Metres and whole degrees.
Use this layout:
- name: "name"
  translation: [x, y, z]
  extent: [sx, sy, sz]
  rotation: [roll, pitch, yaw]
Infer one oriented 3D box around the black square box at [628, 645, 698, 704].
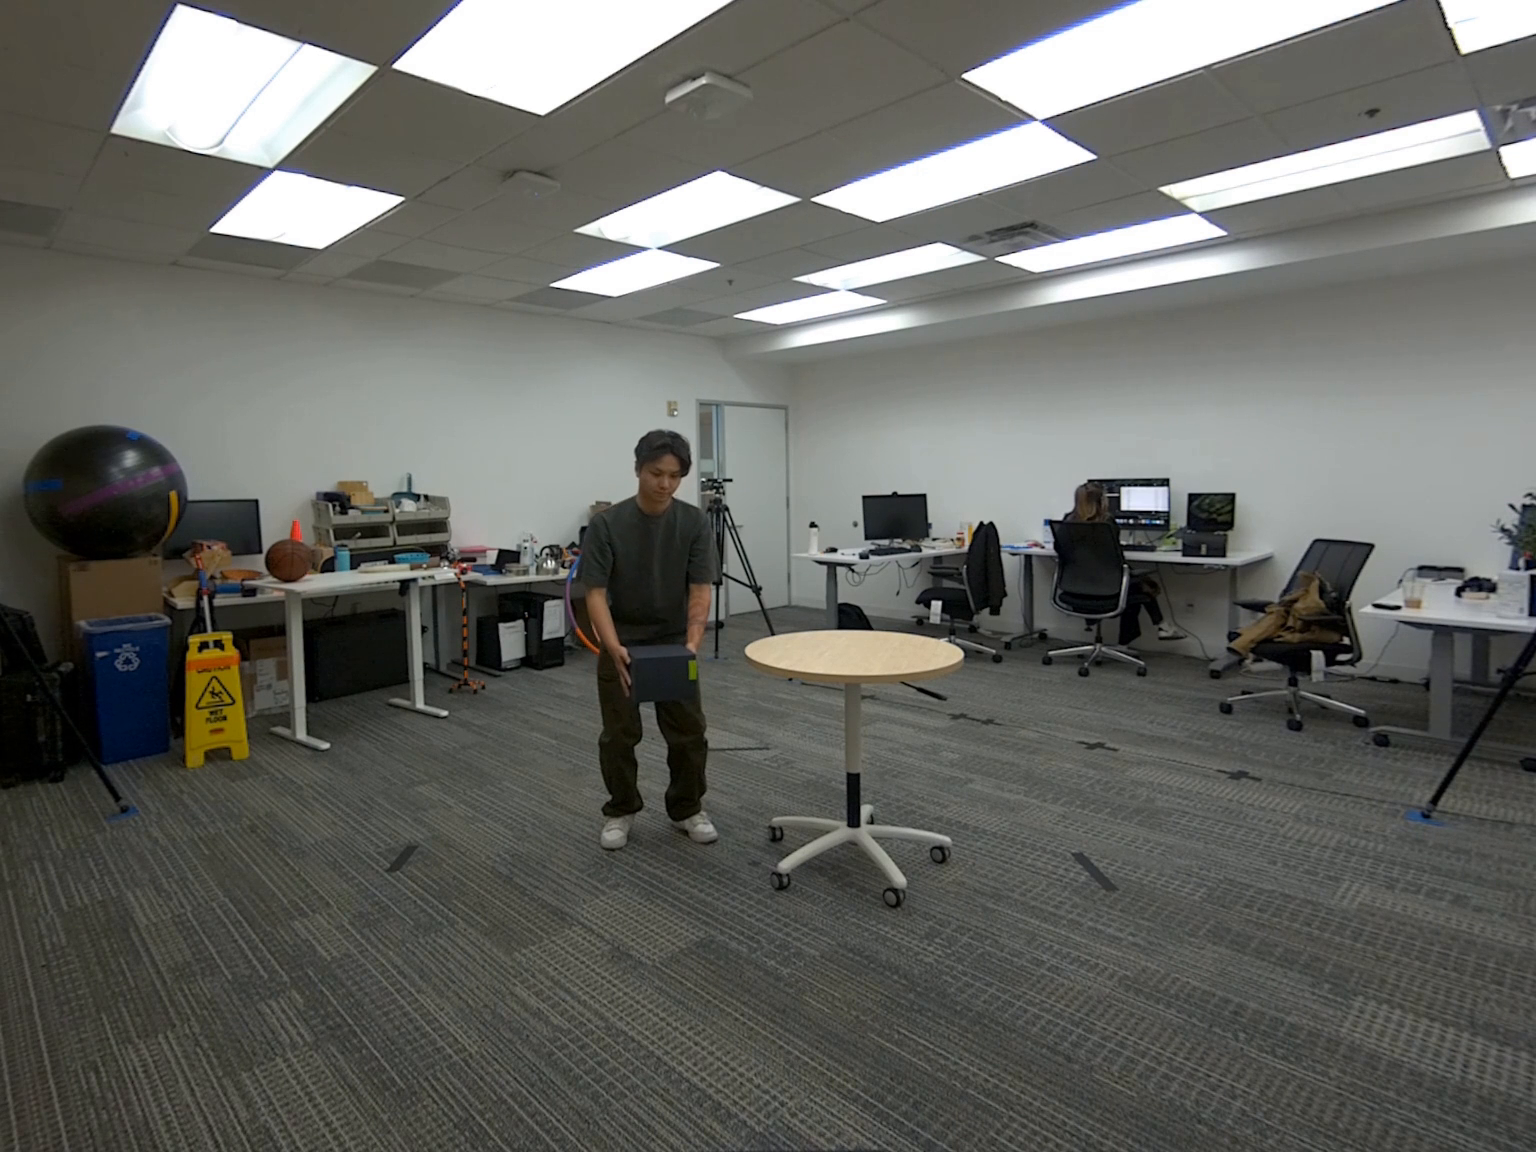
- name: "black square box"
  translation: [-0.376, 0.343, 3.015]
  extent: [0.214, 0.155, 0.231]
  rotation: [-2, 3, -12]
